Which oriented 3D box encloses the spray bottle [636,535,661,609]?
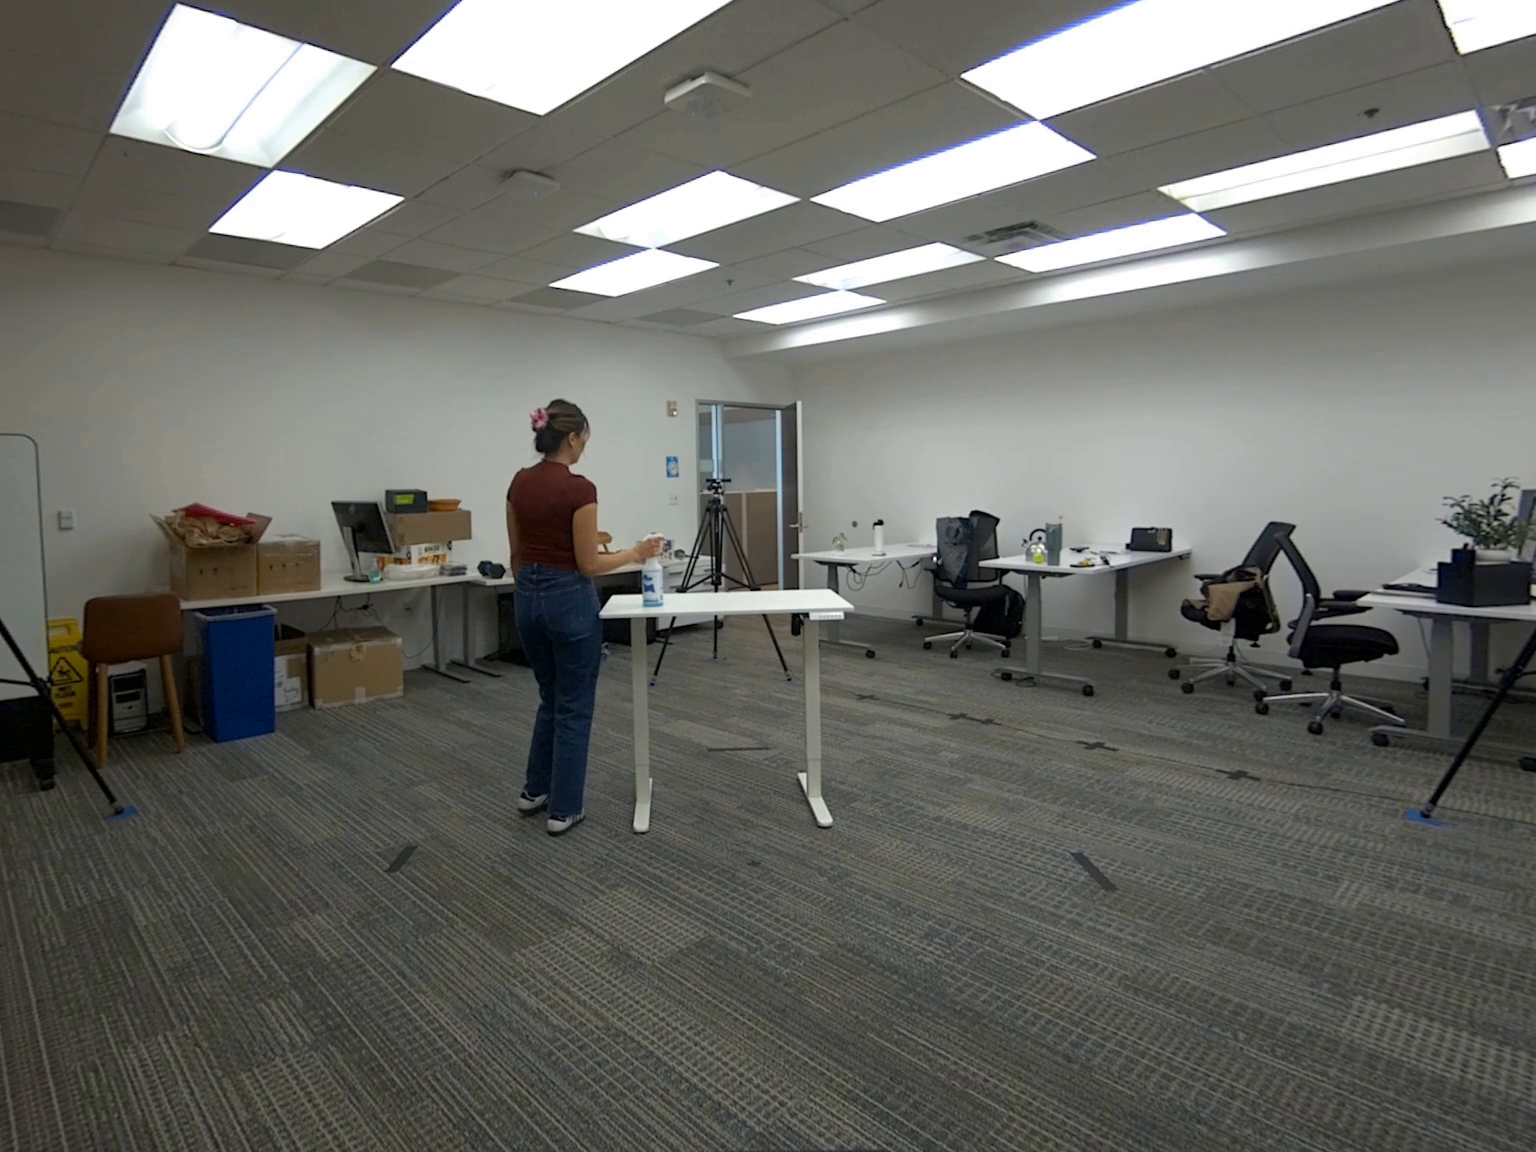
[{"bbox_3d":[-0.493,-0.021,3.531,0.090,0.297,0.087,-1,1,-3],"label":"spray bottle"}]
